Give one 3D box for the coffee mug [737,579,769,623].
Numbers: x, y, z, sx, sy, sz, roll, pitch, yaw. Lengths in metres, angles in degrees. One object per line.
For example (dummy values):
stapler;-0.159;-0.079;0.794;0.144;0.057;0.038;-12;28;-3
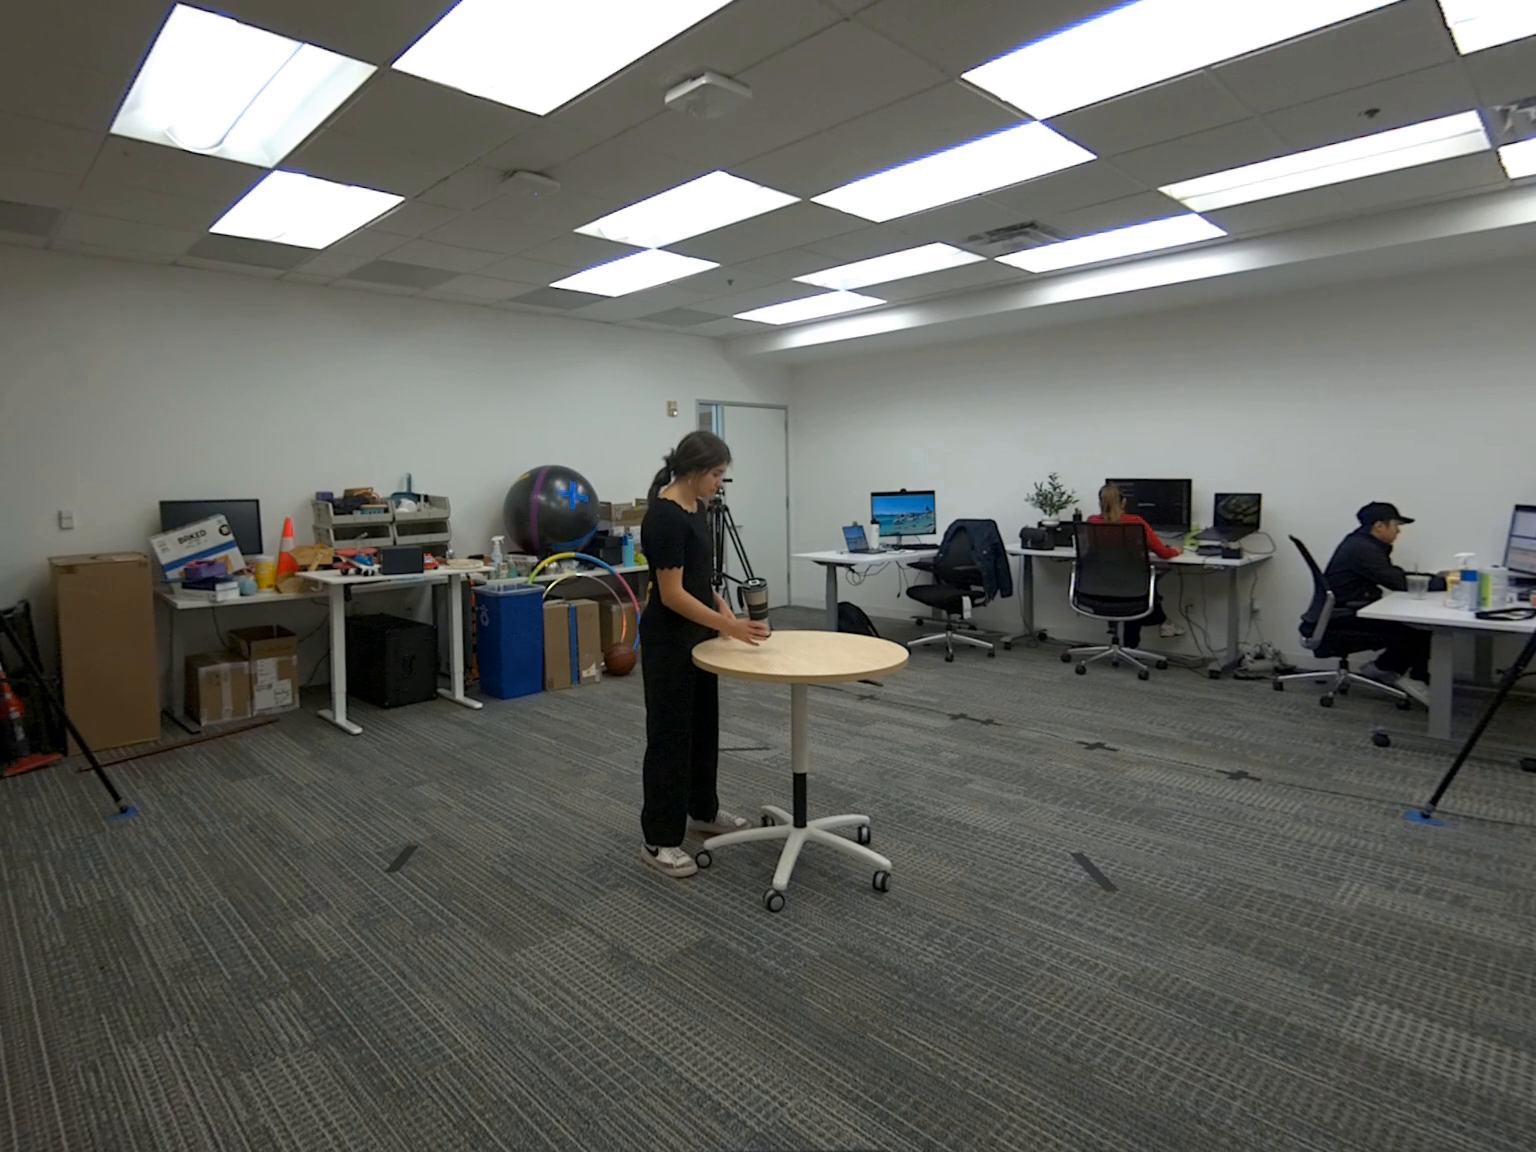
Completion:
coffee mug;-0.042;0.113;3.015;0.086;0.199;0.126;-17;21;-27
